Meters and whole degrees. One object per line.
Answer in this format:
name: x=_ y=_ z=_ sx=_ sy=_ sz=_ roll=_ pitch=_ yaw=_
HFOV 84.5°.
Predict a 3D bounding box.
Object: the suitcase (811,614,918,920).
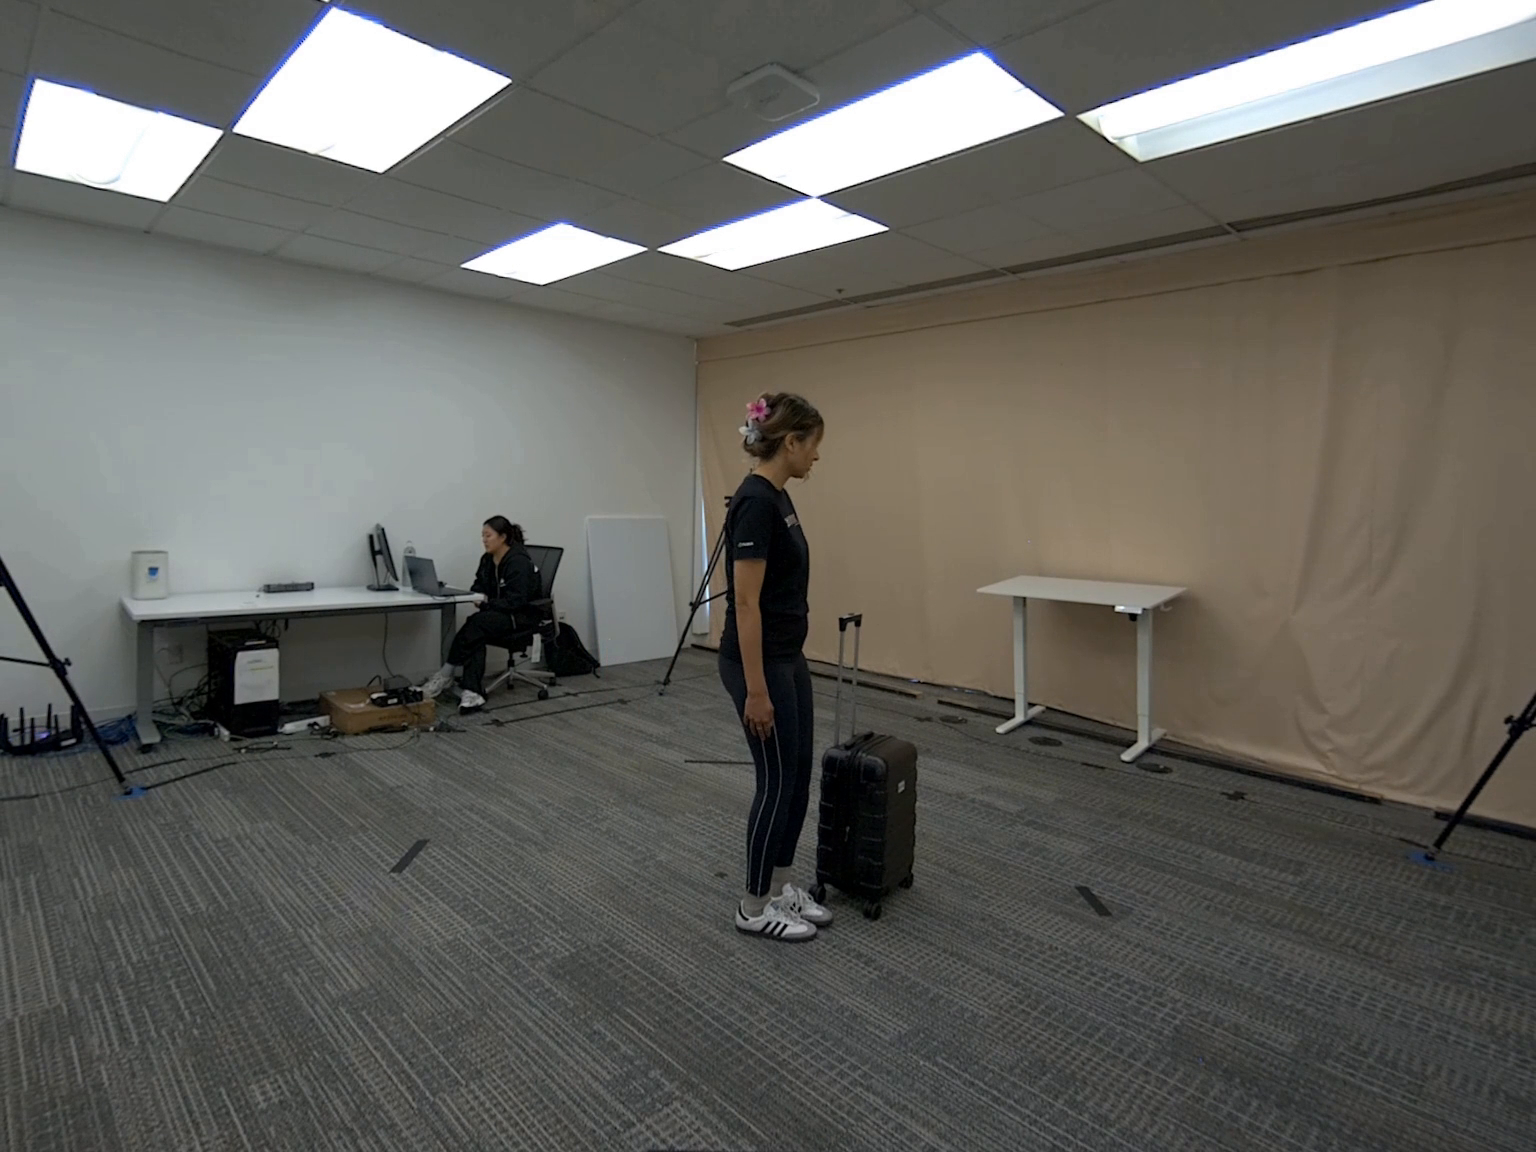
suitcase: x=0.369 y=0.651 z=2.979 sx=0.263 sy=0.976 sz=0.376 roll=5 pitch=4 yaw=29
